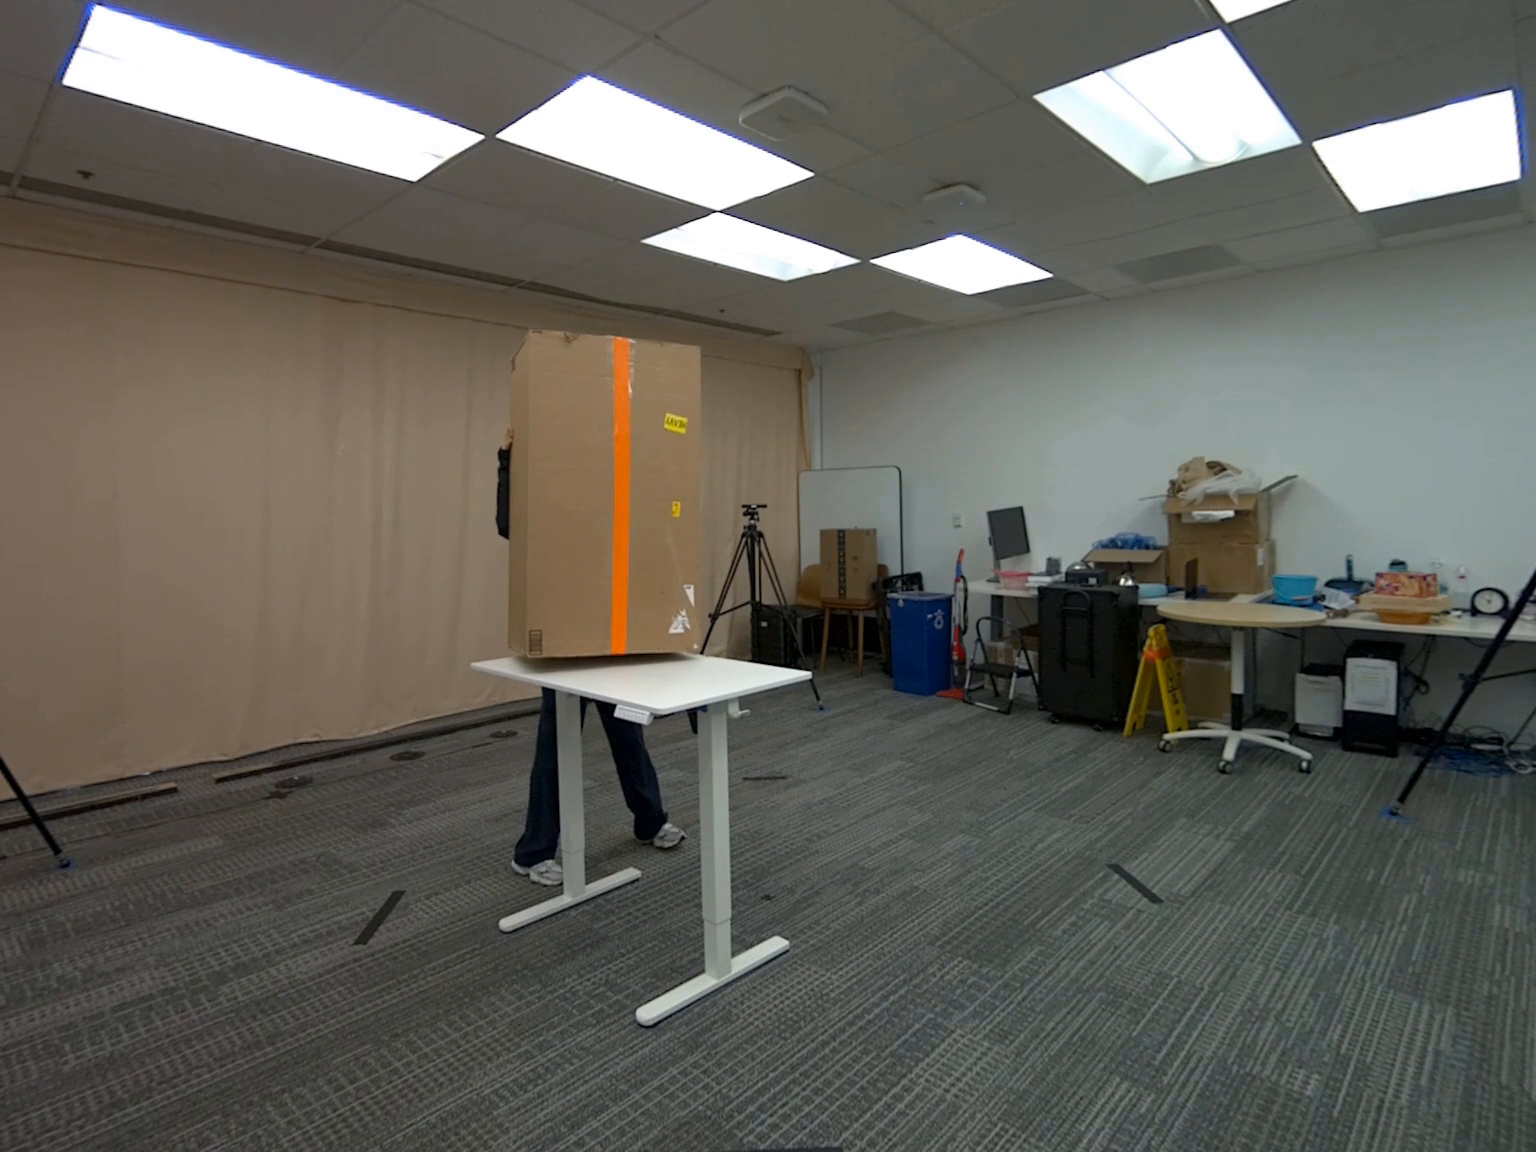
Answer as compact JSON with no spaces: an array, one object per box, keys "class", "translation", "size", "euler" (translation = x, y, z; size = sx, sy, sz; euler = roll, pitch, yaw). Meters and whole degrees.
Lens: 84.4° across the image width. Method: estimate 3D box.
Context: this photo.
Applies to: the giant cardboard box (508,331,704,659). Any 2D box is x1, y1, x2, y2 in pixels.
[{"class":"giant cardboard box","translation":[-0.558,-0.255,2.894],"size":[0.571,1.028,0.456],"euler":[0,-1,-23]}]
